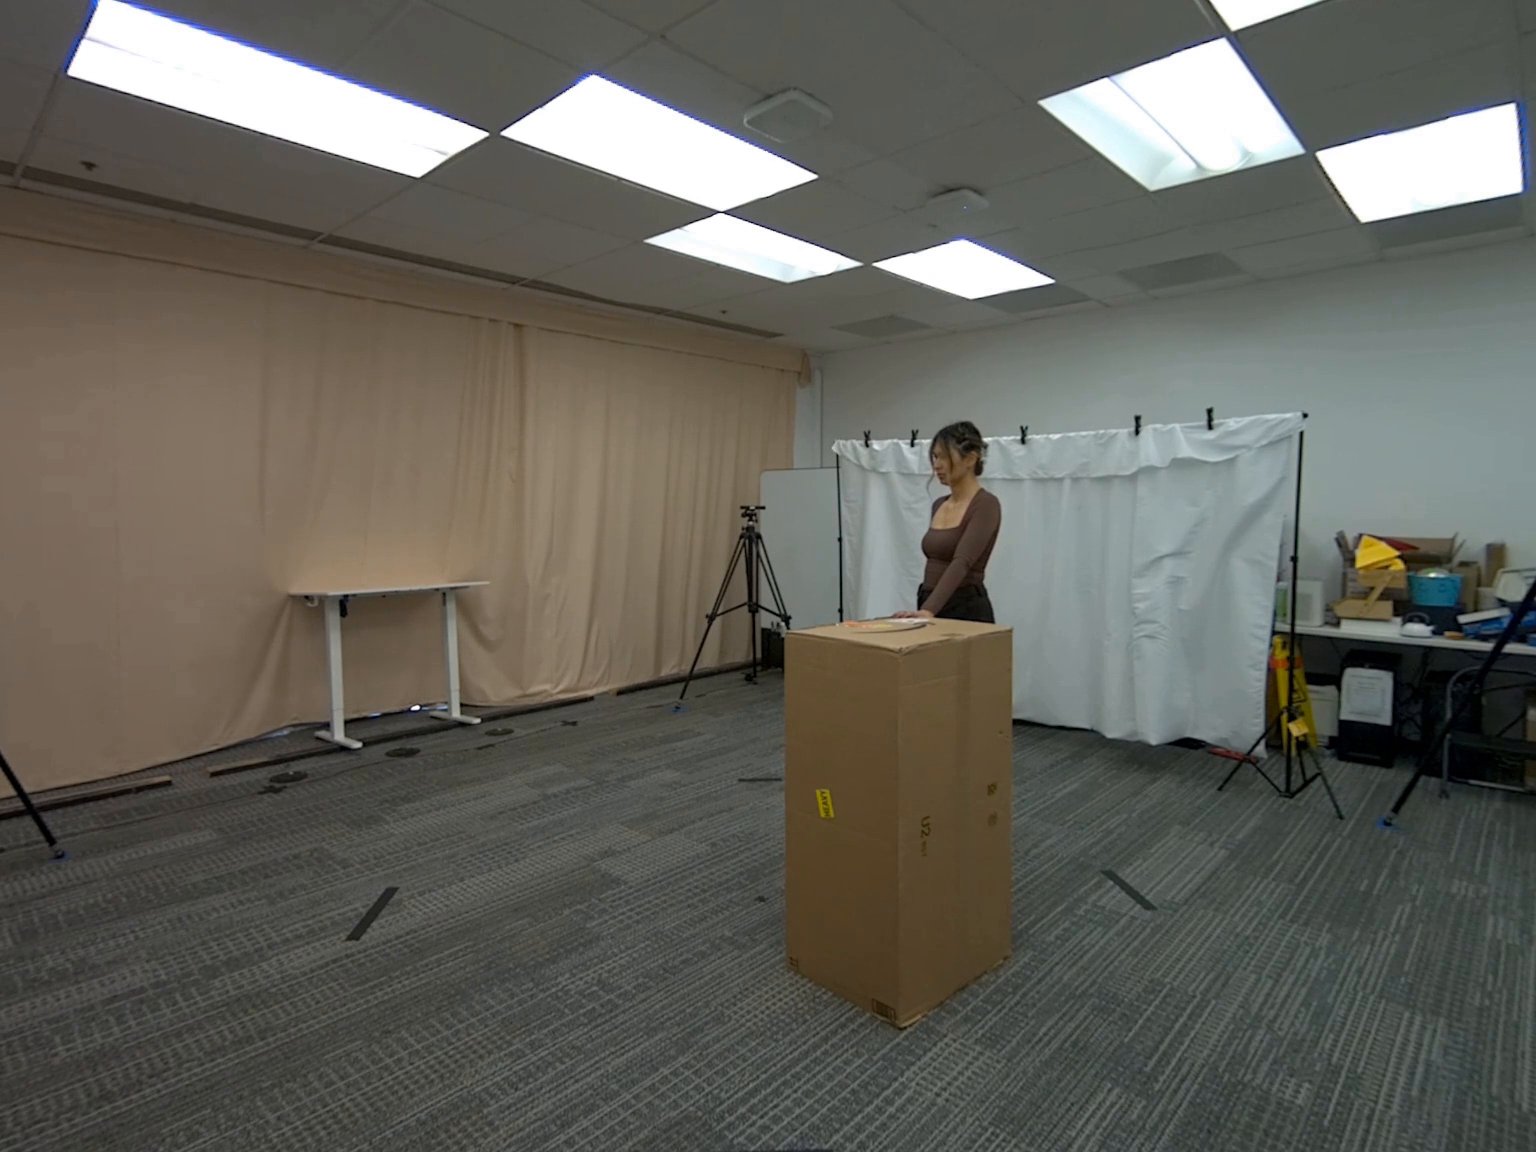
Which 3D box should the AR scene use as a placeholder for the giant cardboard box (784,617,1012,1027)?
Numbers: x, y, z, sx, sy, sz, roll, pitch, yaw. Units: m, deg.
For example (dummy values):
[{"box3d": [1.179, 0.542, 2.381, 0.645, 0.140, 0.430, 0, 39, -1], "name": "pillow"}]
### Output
[{"box3d": [0.405, 0.670, 2.554, 0.566, 1.025, 0.461, -3, 3, -41], "name": "giant cardboard box"}]
